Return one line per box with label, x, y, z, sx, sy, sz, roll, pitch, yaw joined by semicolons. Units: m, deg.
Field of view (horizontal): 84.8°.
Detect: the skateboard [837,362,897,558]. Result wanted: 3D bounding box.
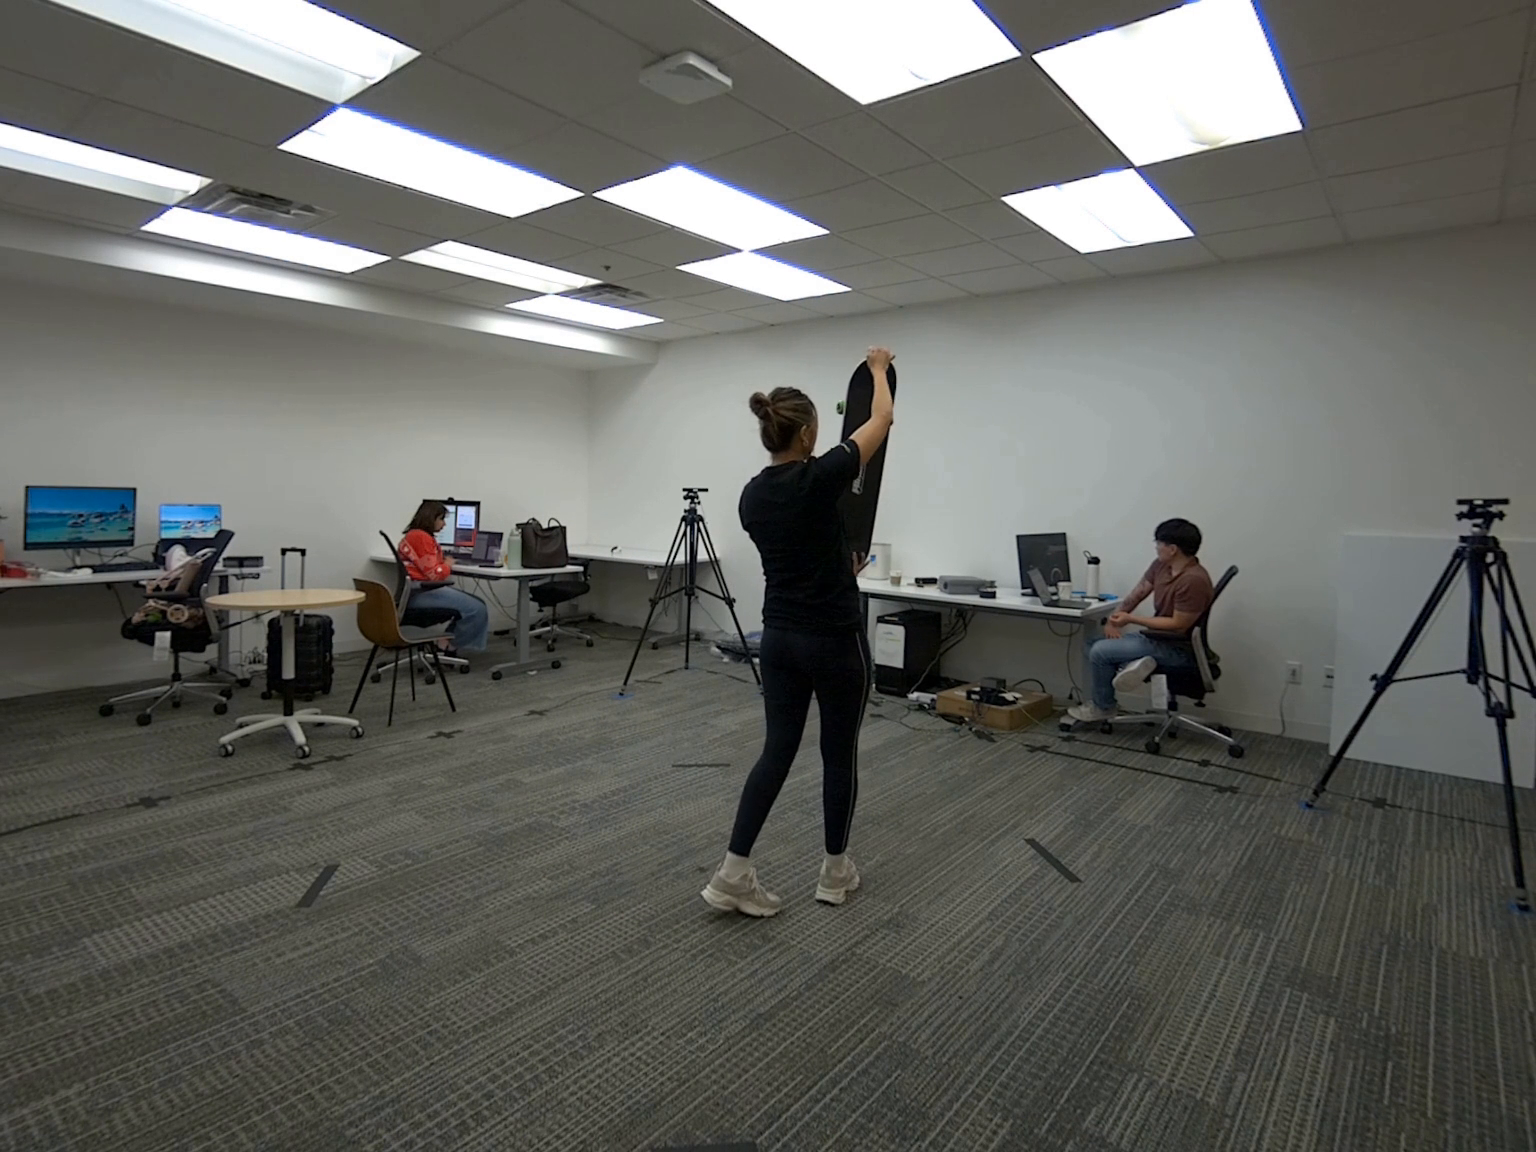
skateboard;0.315;-0.415;3.130;0.190;0.778;0.113;4;11;-19
